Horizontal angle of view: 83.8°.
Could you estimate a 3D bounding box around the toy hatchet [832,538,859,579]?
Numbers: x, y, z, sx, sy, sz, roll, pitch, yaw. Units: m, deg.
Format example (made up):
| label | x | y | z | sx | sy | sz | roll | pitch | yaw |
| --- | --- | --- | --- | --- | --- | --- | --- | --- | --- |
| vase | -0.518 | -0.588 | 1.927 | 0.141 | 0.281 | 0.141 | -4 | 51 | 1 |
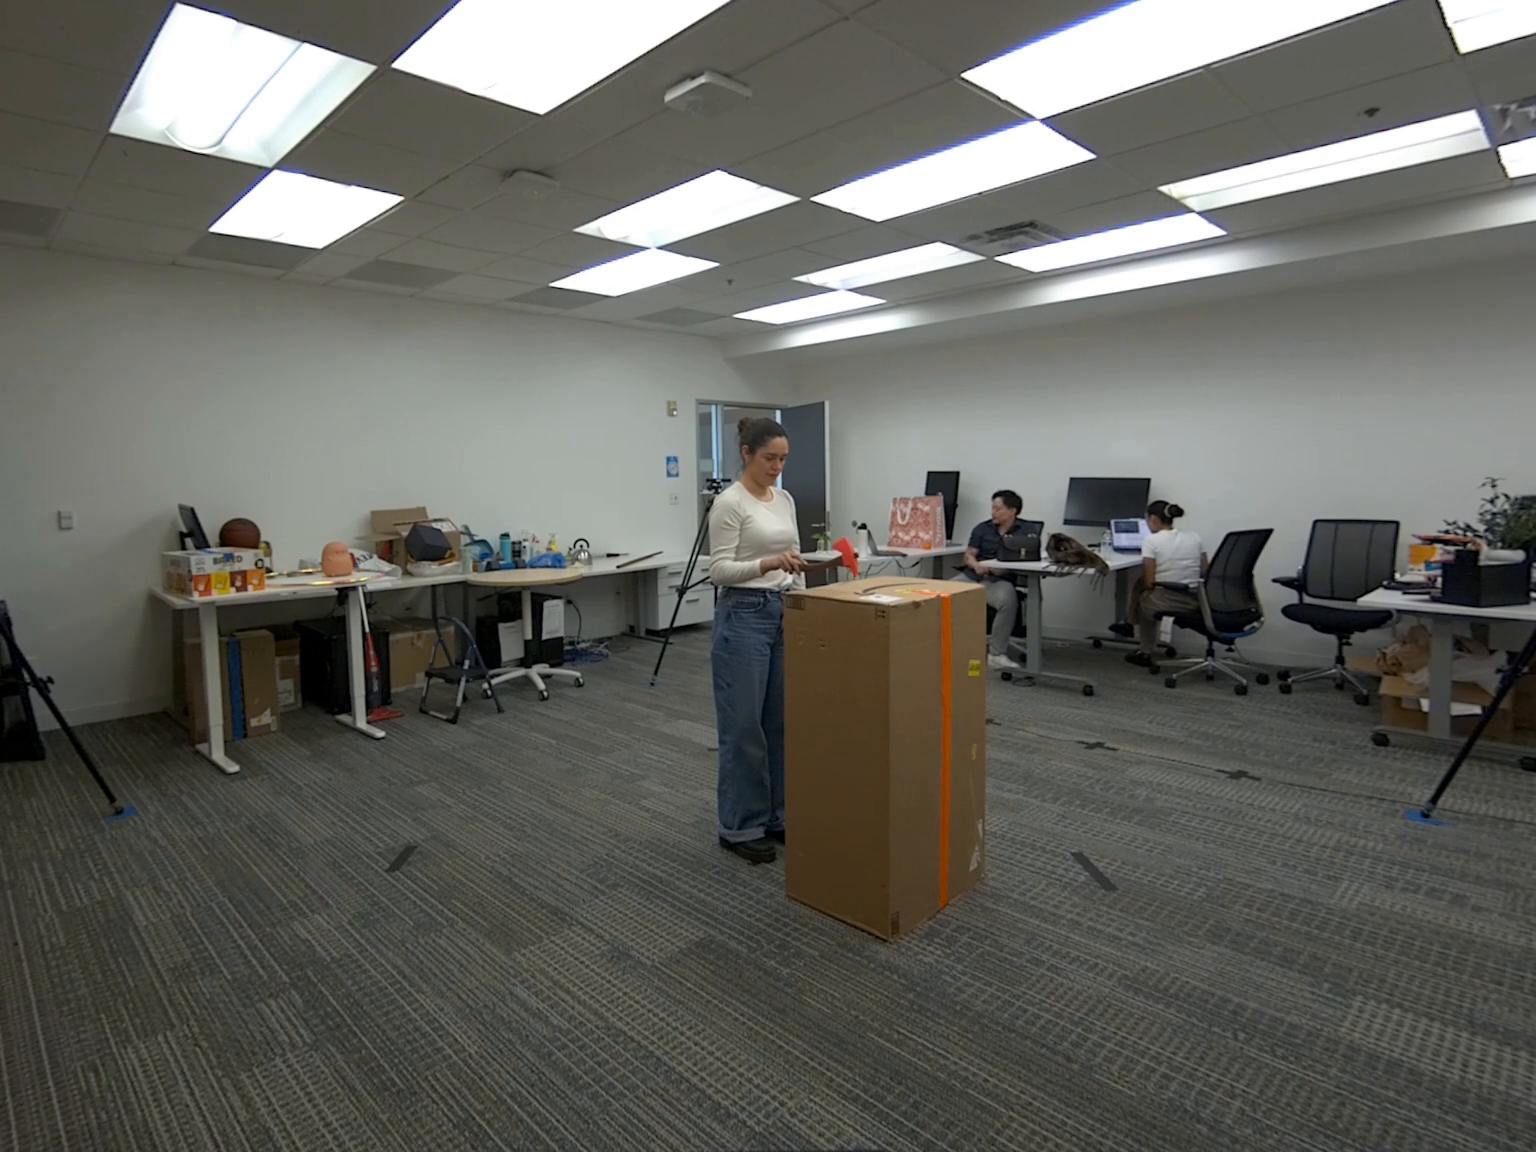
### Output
| label | x | y | z | sx | sy | sz | roll | pitch | yaw |
| --- | --- | --- | --- | --- | --- | --- | --- | --- | --- |
| toy hatchet | 0.188 | -0.064 | 2.851 | 0.277 | 0.130 | 0.029 | 4 | 11 | 28 |
